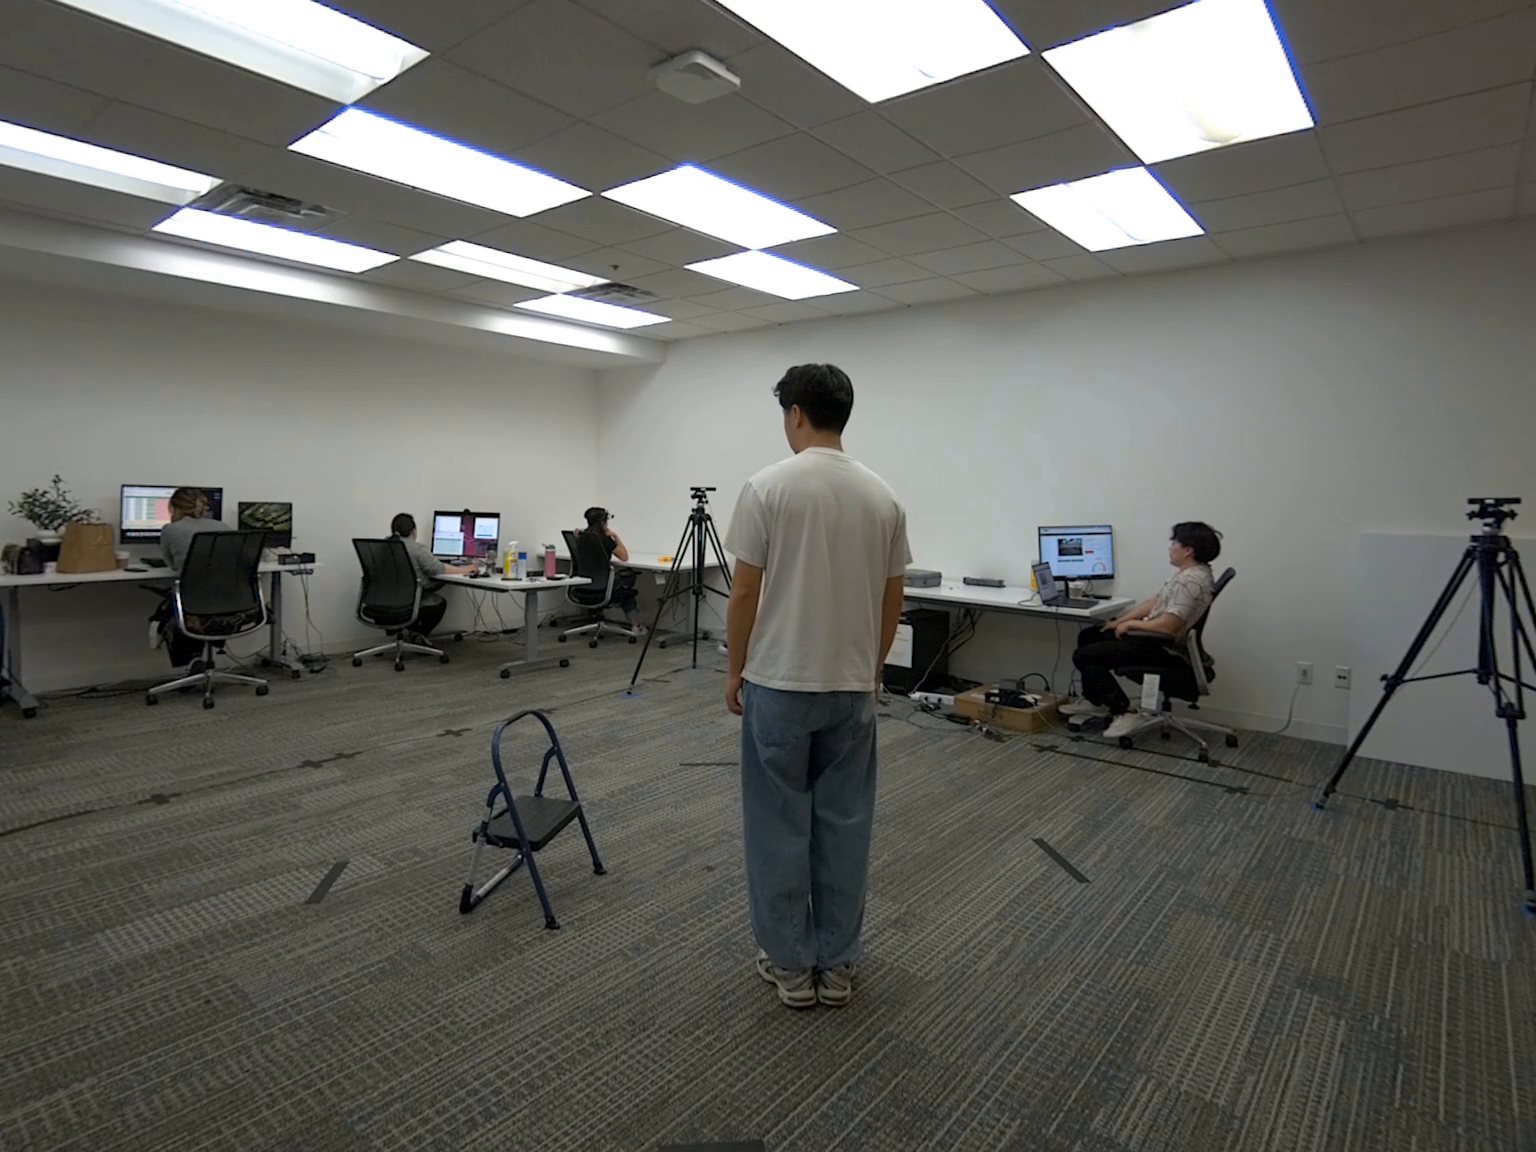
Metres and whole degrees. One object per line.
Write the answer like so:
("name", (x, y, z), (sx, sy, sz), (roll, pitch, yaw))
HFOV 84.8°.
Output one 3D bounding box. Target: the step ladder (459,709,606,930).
("step ladder", (-0.798, 0.775, 2.886), (0.354, 0.604, 0.426), (2, 4, 12))
